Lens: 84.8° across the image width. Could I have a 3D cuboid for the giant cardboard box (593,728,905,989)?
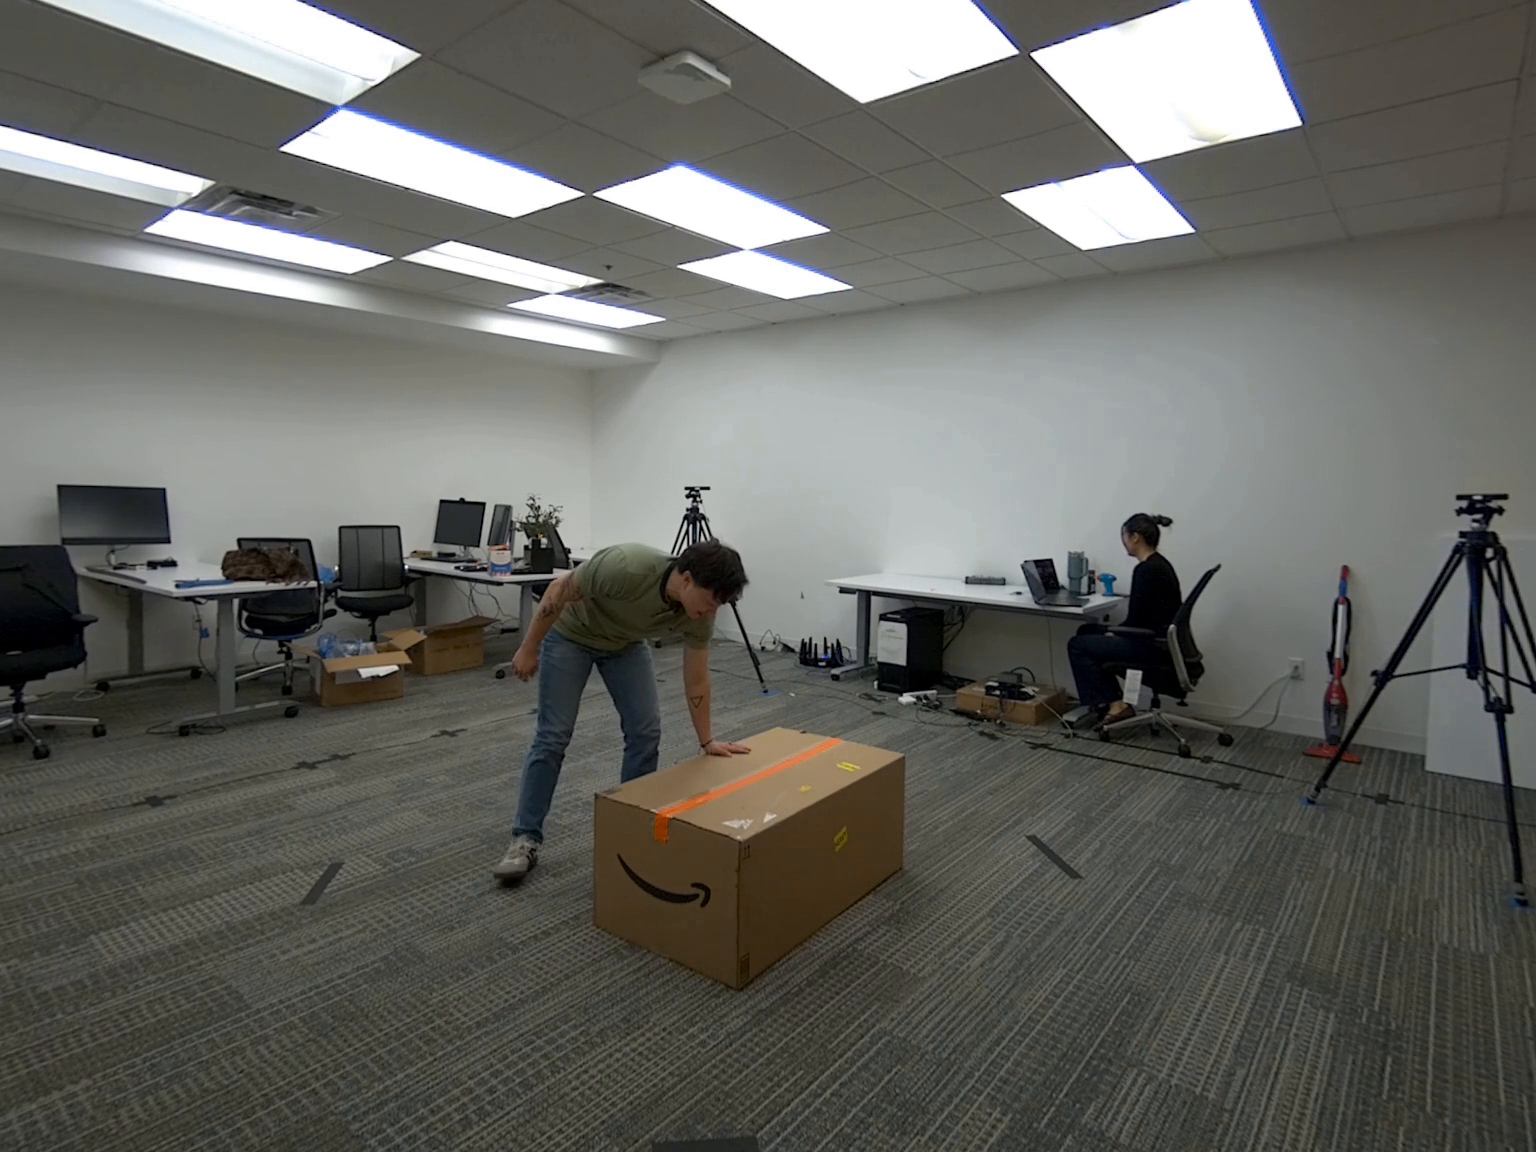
[{"bbox_3d":[-0.033,0.876,2.905,0.596,0.425,0.997,4,6,36],"label":"giant cardboard box"}]
